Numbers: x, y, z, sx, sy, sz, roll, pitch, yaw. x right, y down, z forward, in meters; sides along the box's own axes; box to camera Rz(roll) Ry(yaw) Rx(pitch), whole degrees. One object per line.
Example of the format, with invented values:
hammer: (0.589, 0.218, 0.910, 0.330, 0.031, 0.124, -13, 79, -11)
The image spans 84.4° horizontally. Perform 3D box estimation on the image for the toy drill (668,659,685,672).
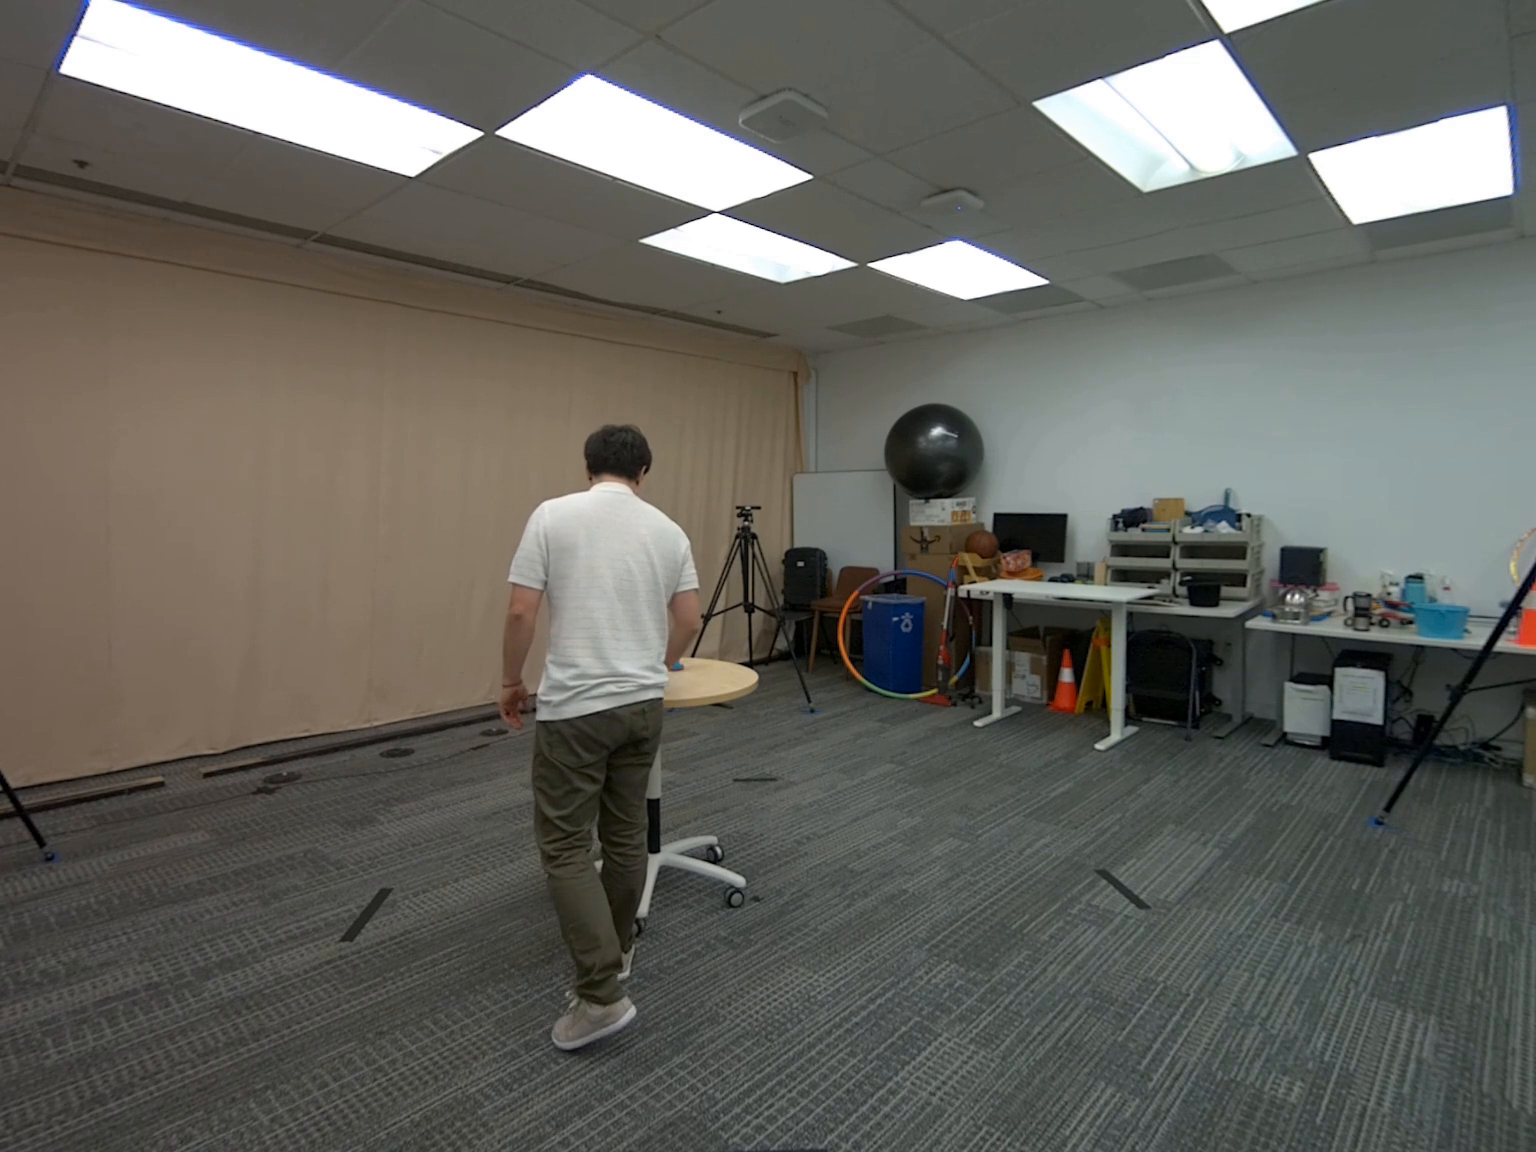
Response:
toy drill: (-0.321, 0.275, 3.170, 0.063, 0.146, 0.165, 4, 5, 29)
